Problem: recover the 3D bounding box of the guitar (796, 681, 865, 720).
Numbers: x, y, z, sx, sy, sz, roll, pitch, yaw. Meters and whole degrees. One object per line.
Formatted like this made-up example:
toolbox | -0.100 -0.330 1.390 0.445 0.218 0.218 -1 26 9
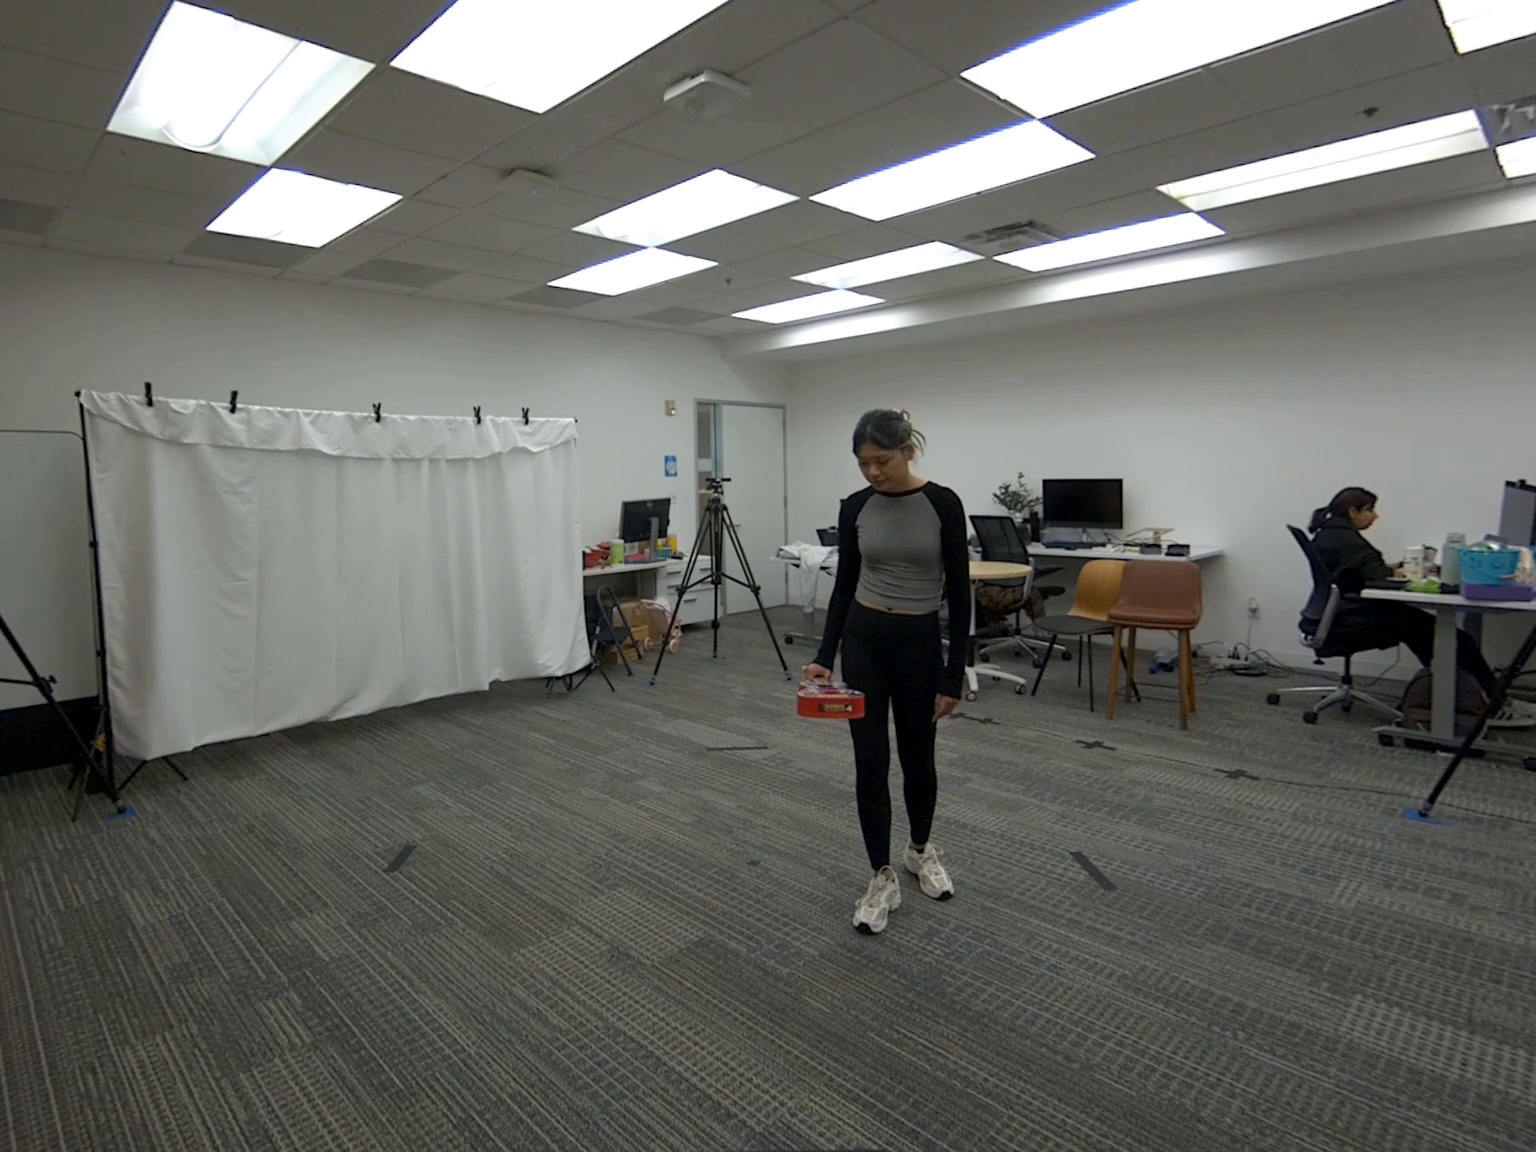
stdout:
guitar | 0.180 0.348 2.639 0.194 0.070 0.496 2 5 5
